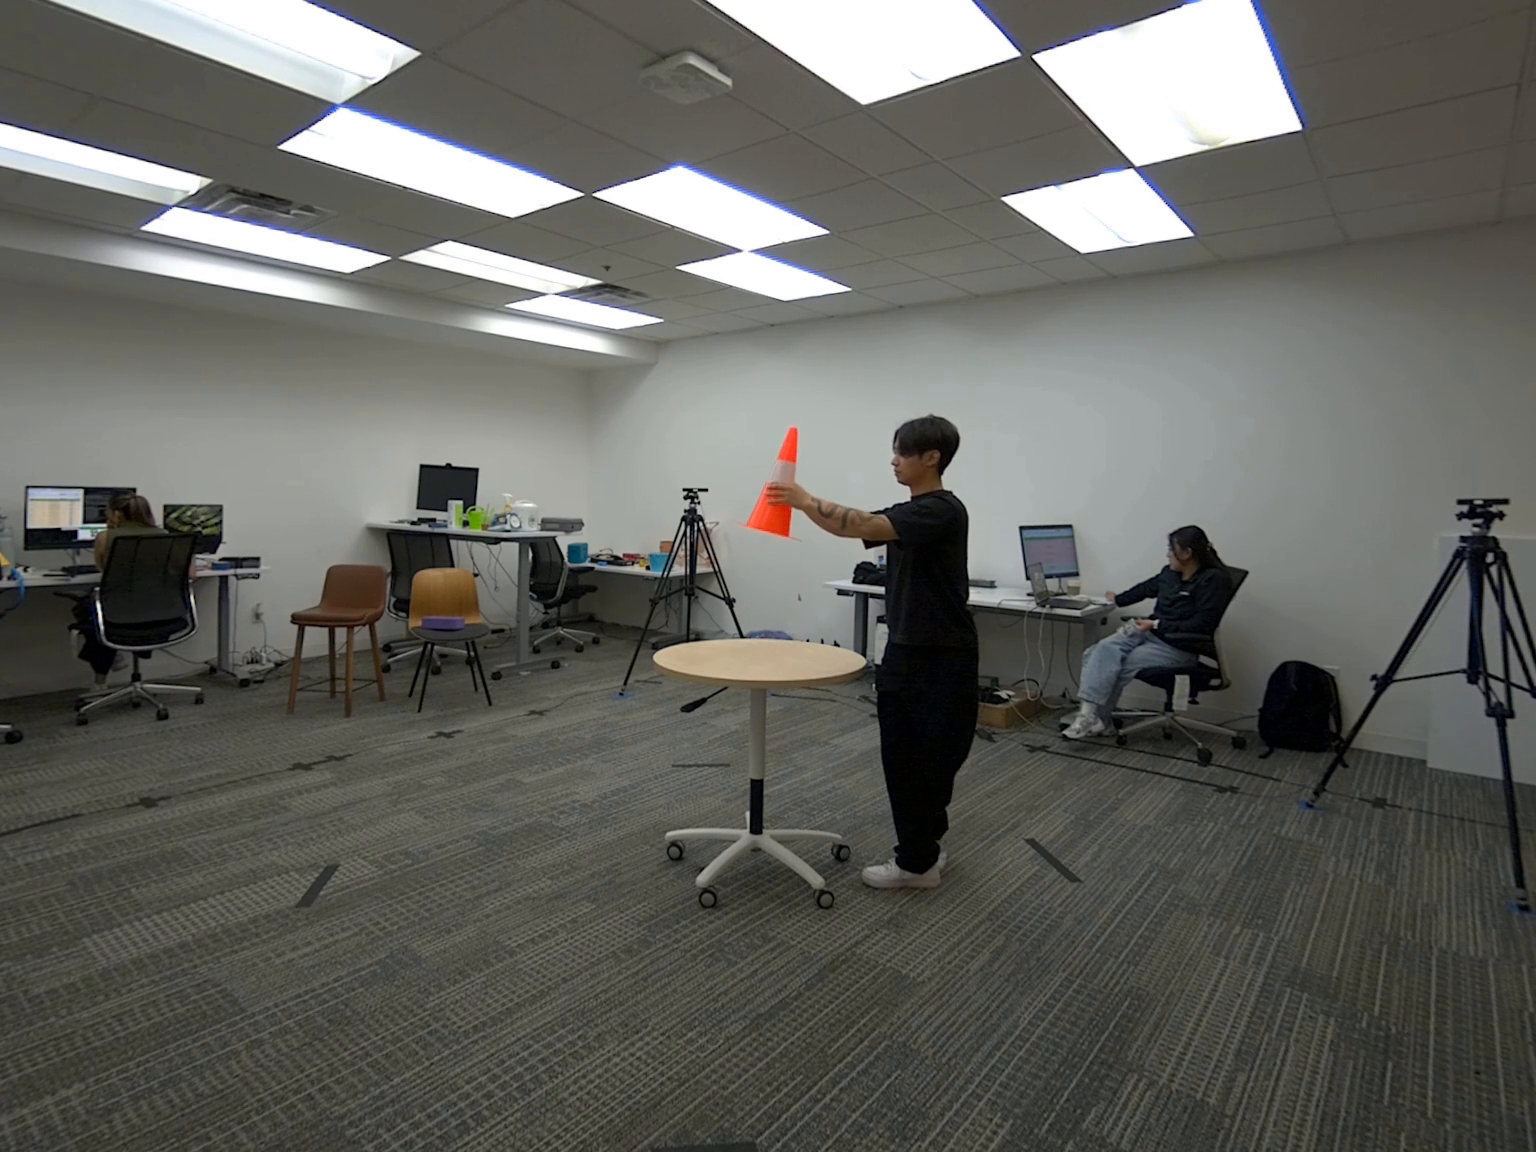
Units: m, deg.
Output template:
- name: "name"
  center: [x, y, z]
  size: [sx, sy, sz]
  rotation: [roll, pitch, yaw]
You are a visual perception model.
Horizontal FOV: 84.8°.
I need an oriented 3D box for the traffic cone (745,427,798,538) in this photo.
- name: "traffic cone"
  center: [0.039, -0.338, 3.004]
  size: [0.208, 0.383, 0.200]
  rotation: [13, 2, 19]
